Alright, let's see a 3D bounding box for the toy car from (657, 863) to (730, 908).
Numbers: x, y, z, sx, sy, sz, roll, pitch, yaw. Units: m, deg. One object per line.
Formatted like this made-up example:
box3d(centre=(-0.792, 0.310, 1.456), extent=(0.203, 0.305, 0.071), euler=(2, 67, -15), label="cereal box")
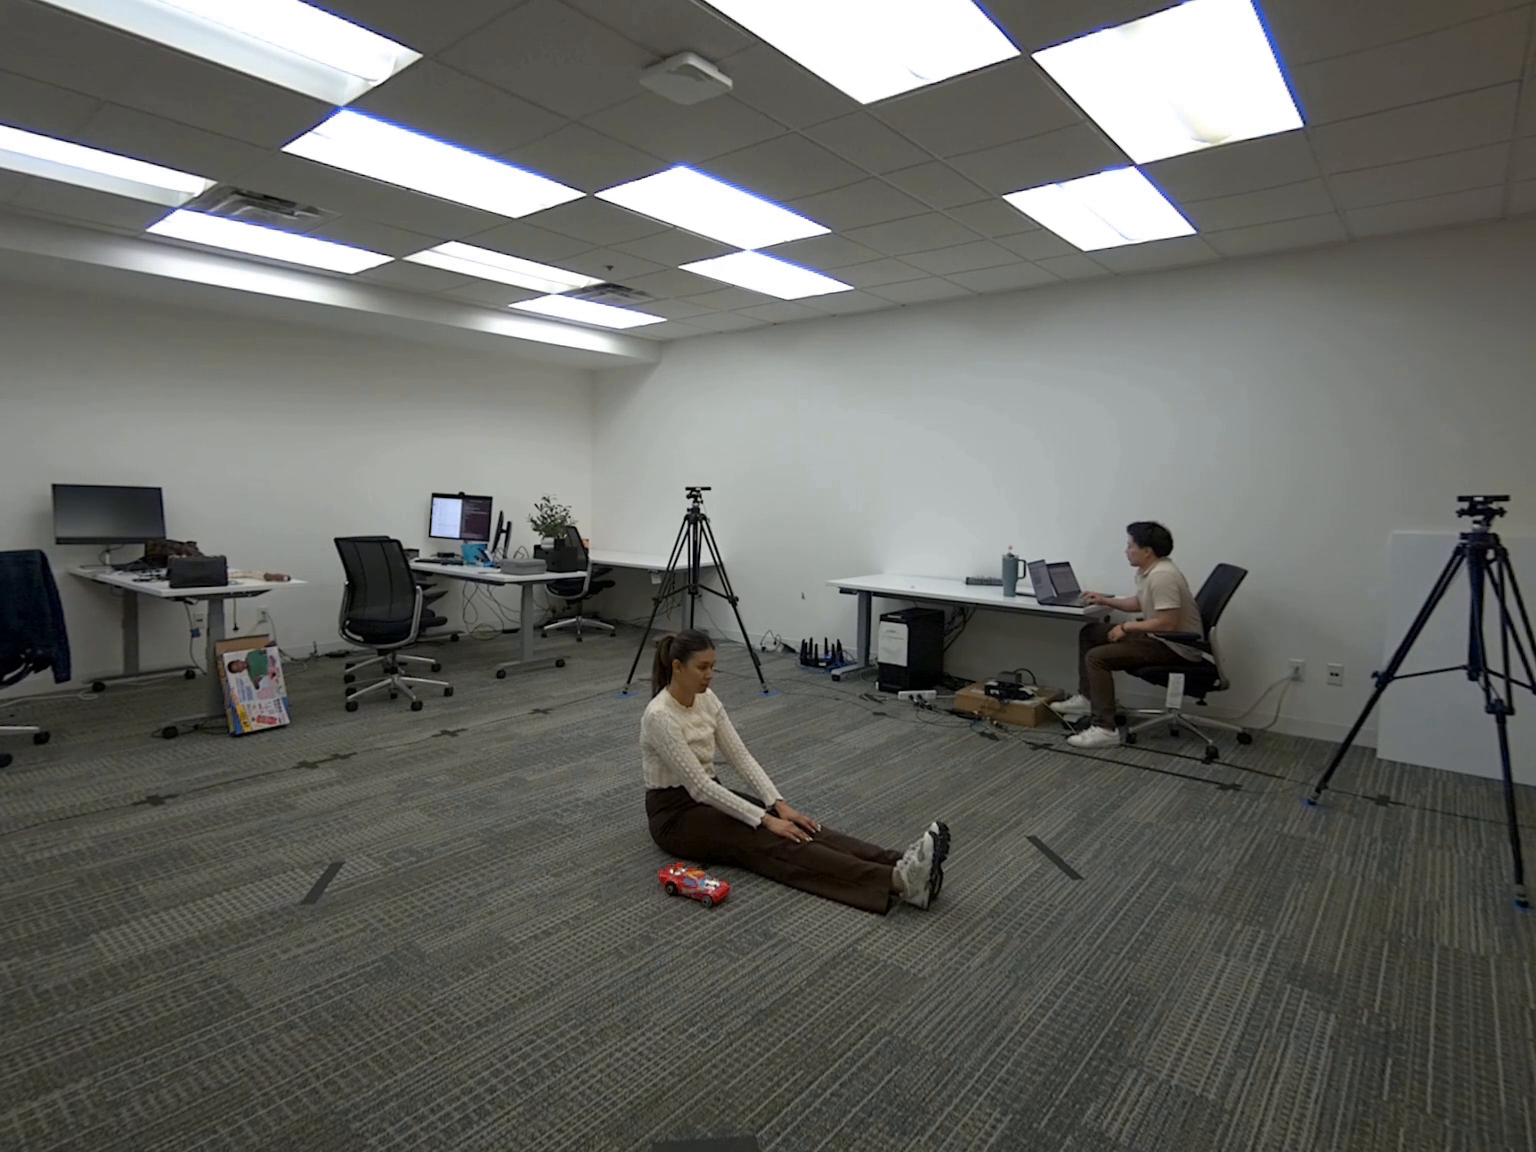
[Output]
box3d(centre=(-0.272, 1.050, 2.911), extent=(0.263, 0.082, 0.127), euler=(16, 13, 30), label="toy car")
